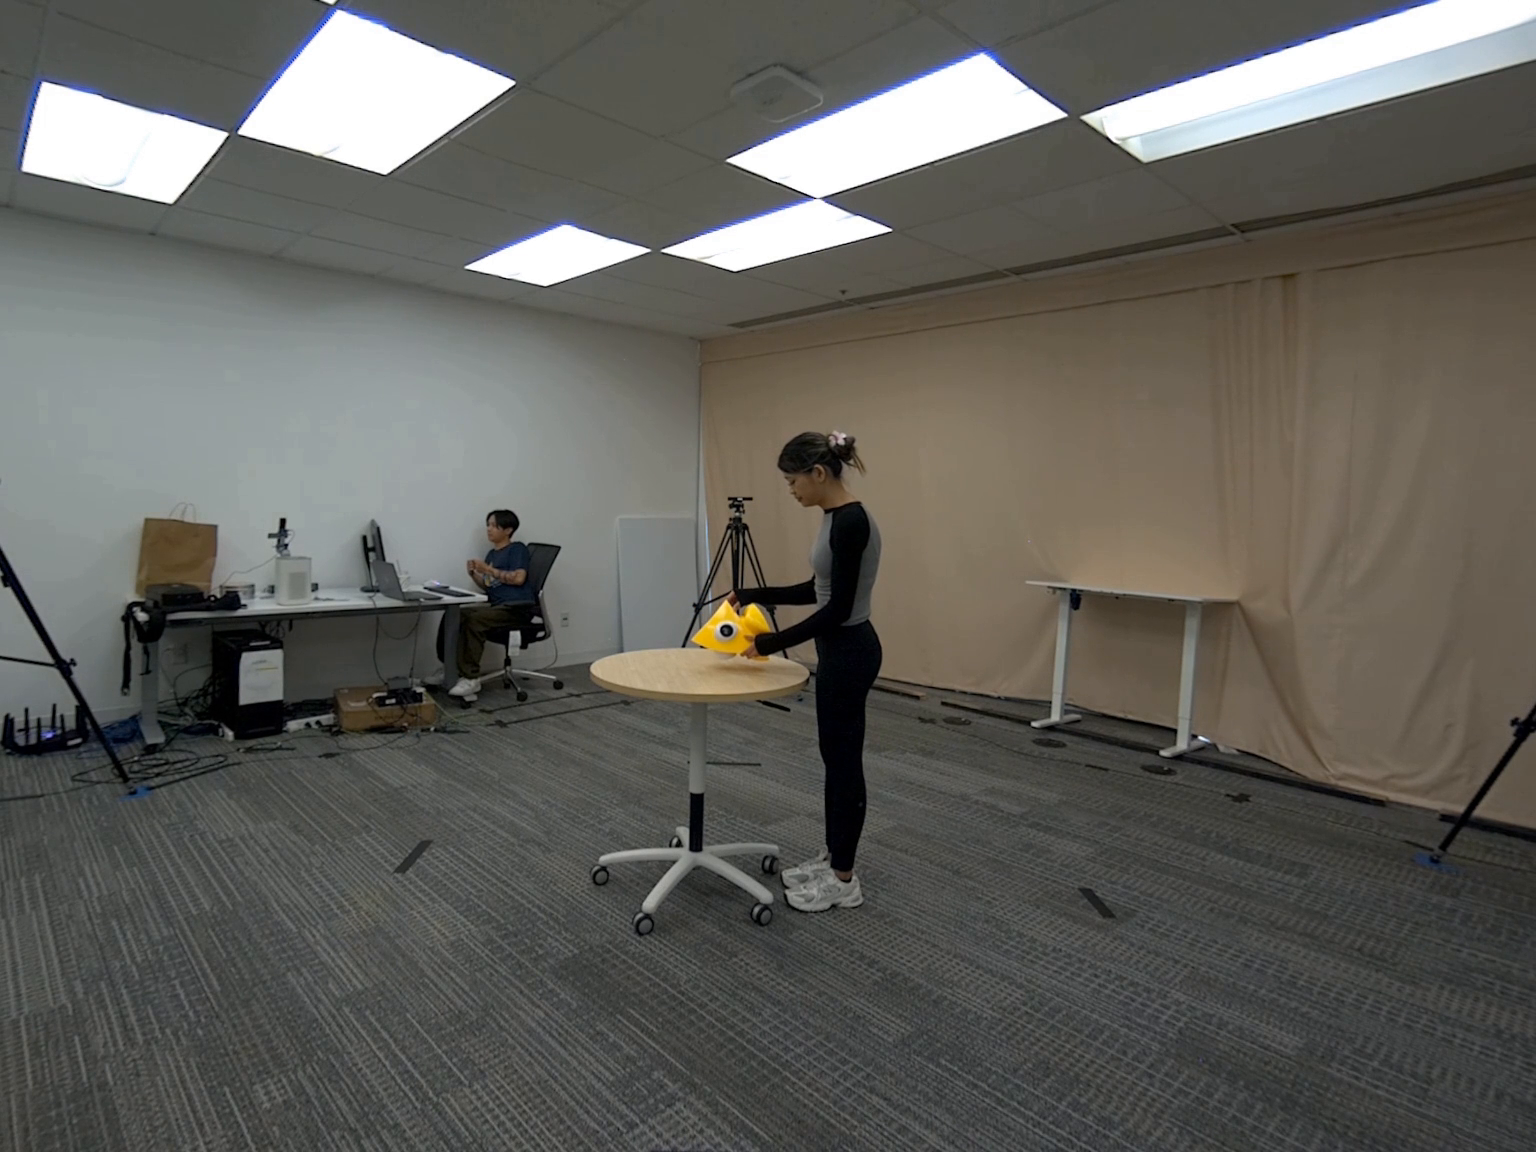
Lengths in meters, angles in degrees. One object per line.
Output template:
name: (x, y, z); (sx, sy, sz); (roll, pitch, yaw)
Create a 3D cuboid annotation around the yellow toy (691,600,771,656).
yellow toy: (-0.138, 0.226, 2.938); (0.228, 0.200, 0.199); (-18, 43, -22)
